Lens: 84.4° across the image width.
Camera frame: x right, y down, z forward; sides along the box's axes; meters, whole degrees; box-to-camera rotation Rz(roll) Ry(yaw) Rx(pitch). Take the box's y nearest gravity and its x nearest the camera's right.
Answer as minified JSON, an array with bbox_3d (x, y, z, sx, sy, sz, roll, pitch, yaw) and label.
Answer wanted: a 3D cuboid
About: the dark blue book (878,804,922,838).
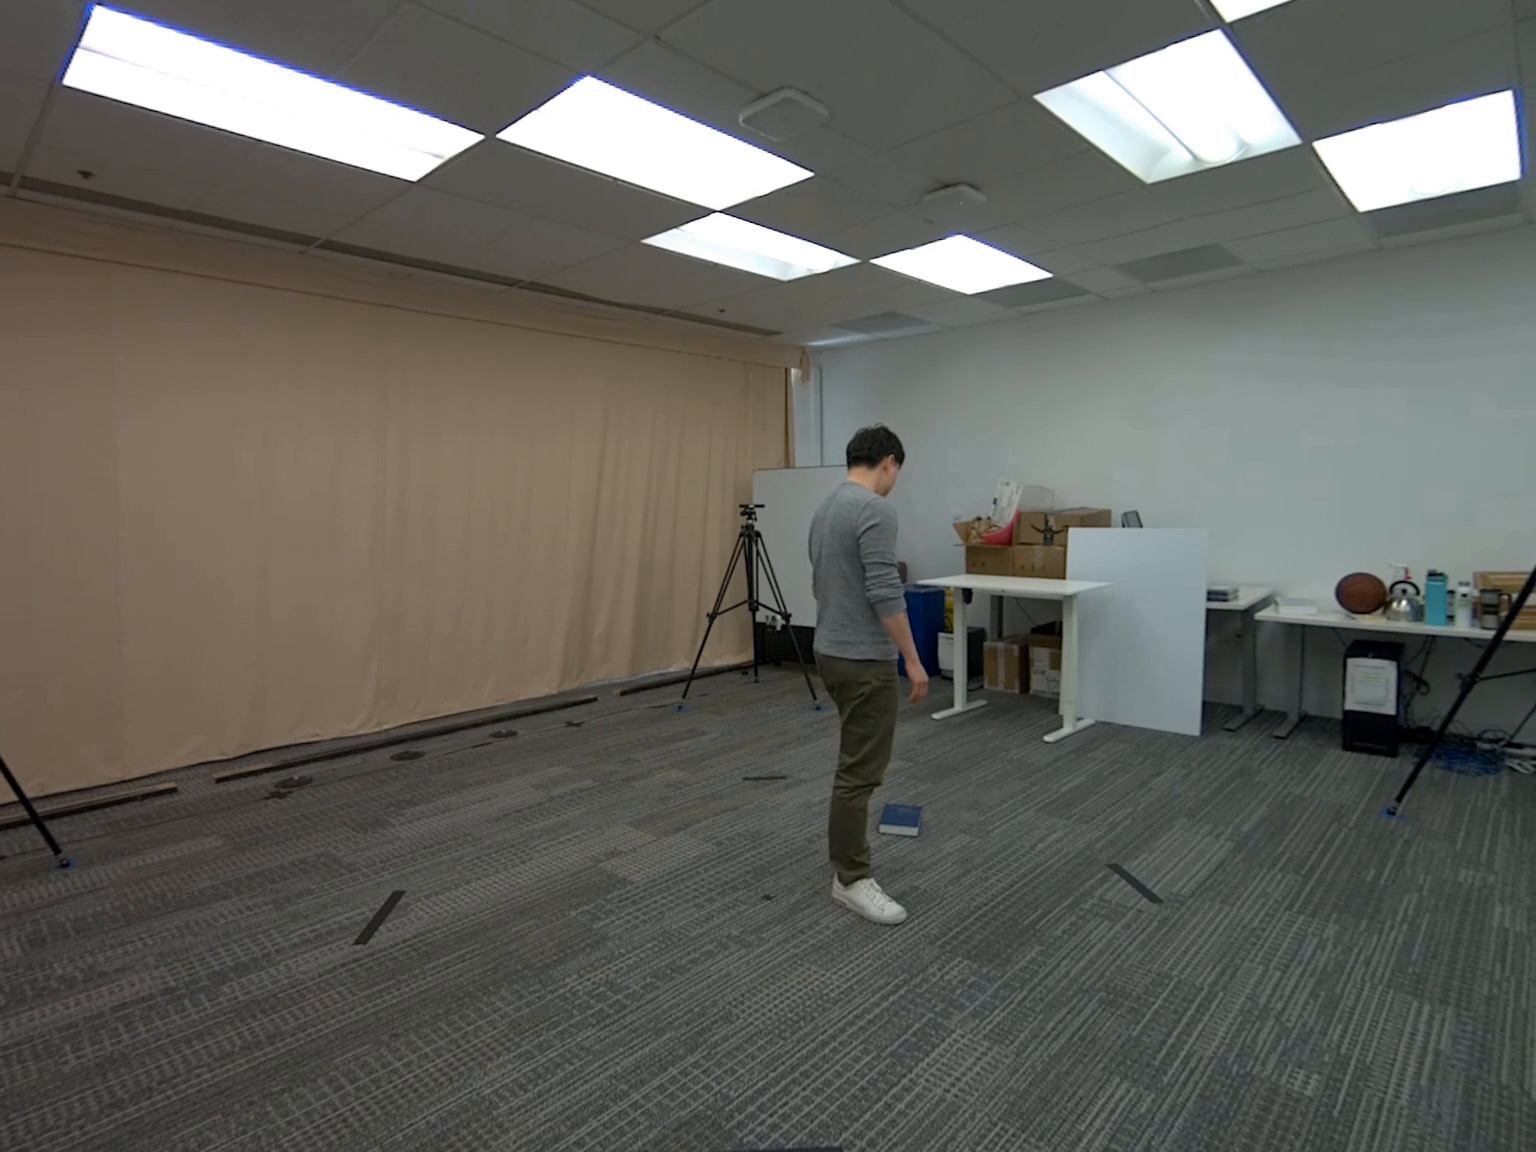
[{"bbox_3d":[0.579,1.050,3.628,0.166,0.045,0.241,1,5,15],"label":"dark blue book"}]
